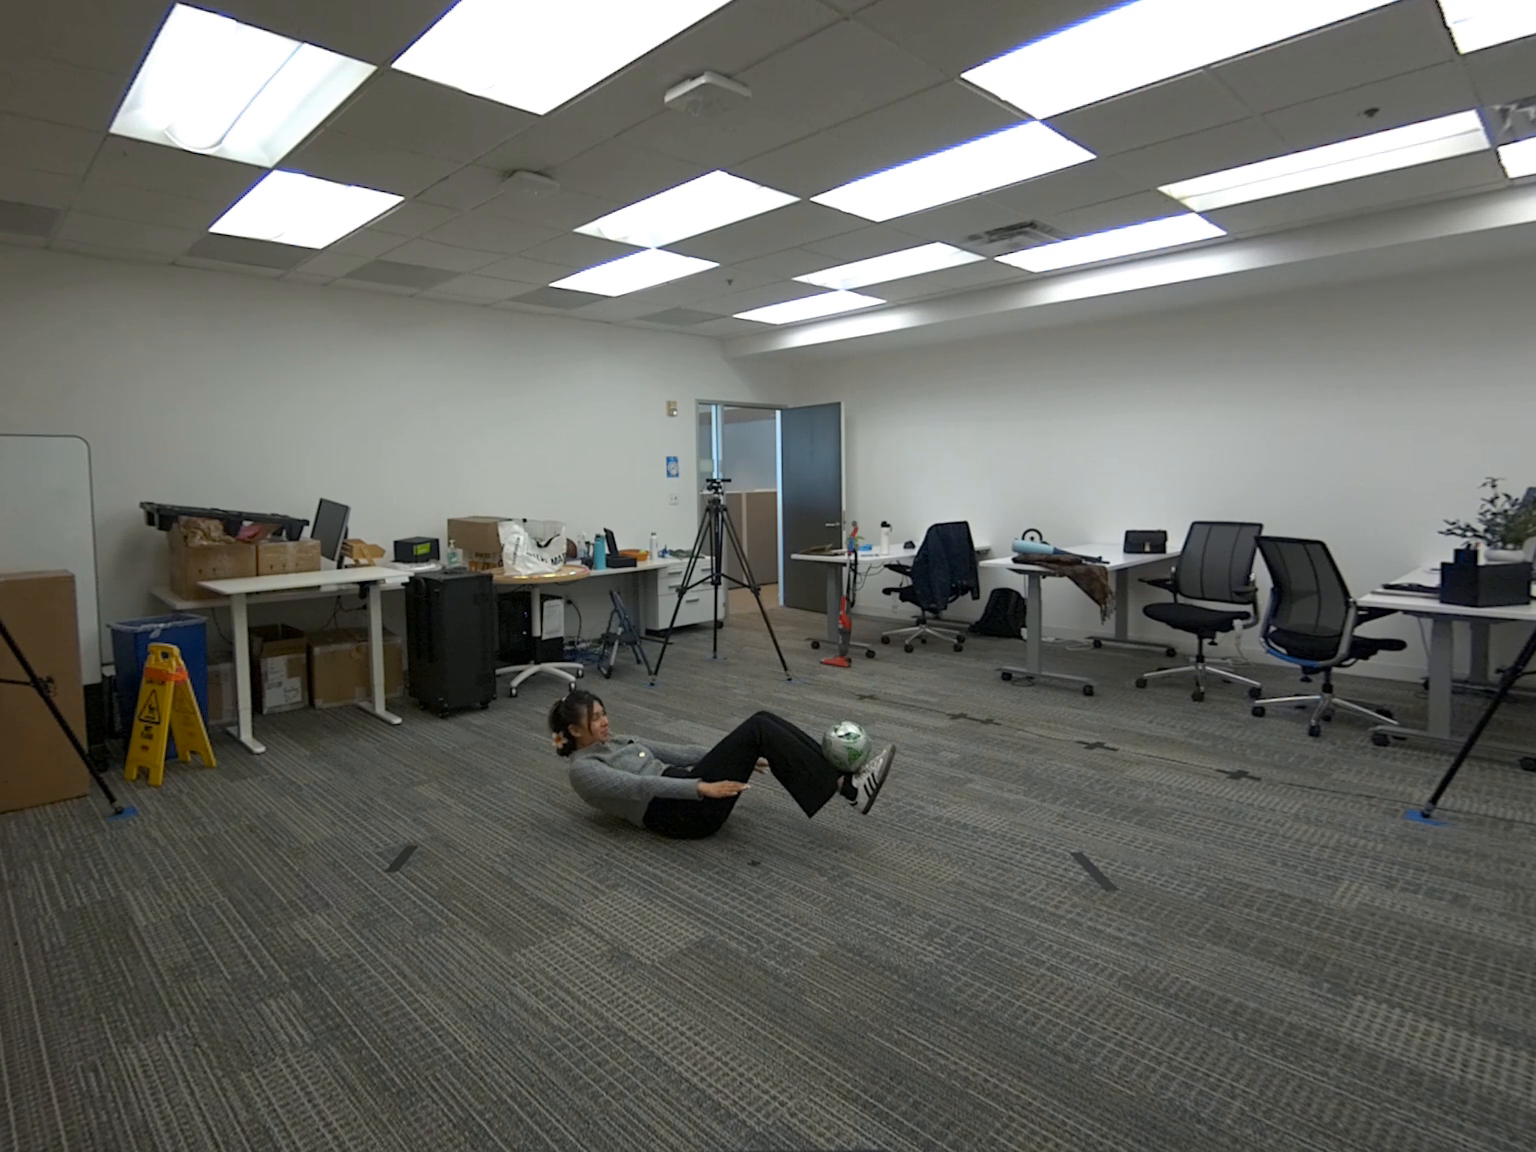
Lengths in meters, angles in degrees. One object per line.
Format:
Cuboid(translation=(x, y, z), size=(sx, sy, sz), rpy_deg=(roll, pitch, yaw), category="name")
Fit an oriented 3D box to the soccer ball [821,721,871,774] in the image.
Cuboid(translation=(0.297, 0.644, 3.243), size=(0.187, 0.187, 0.188), rpy_deg=(-1, 5, -2), category="soccer ball")
